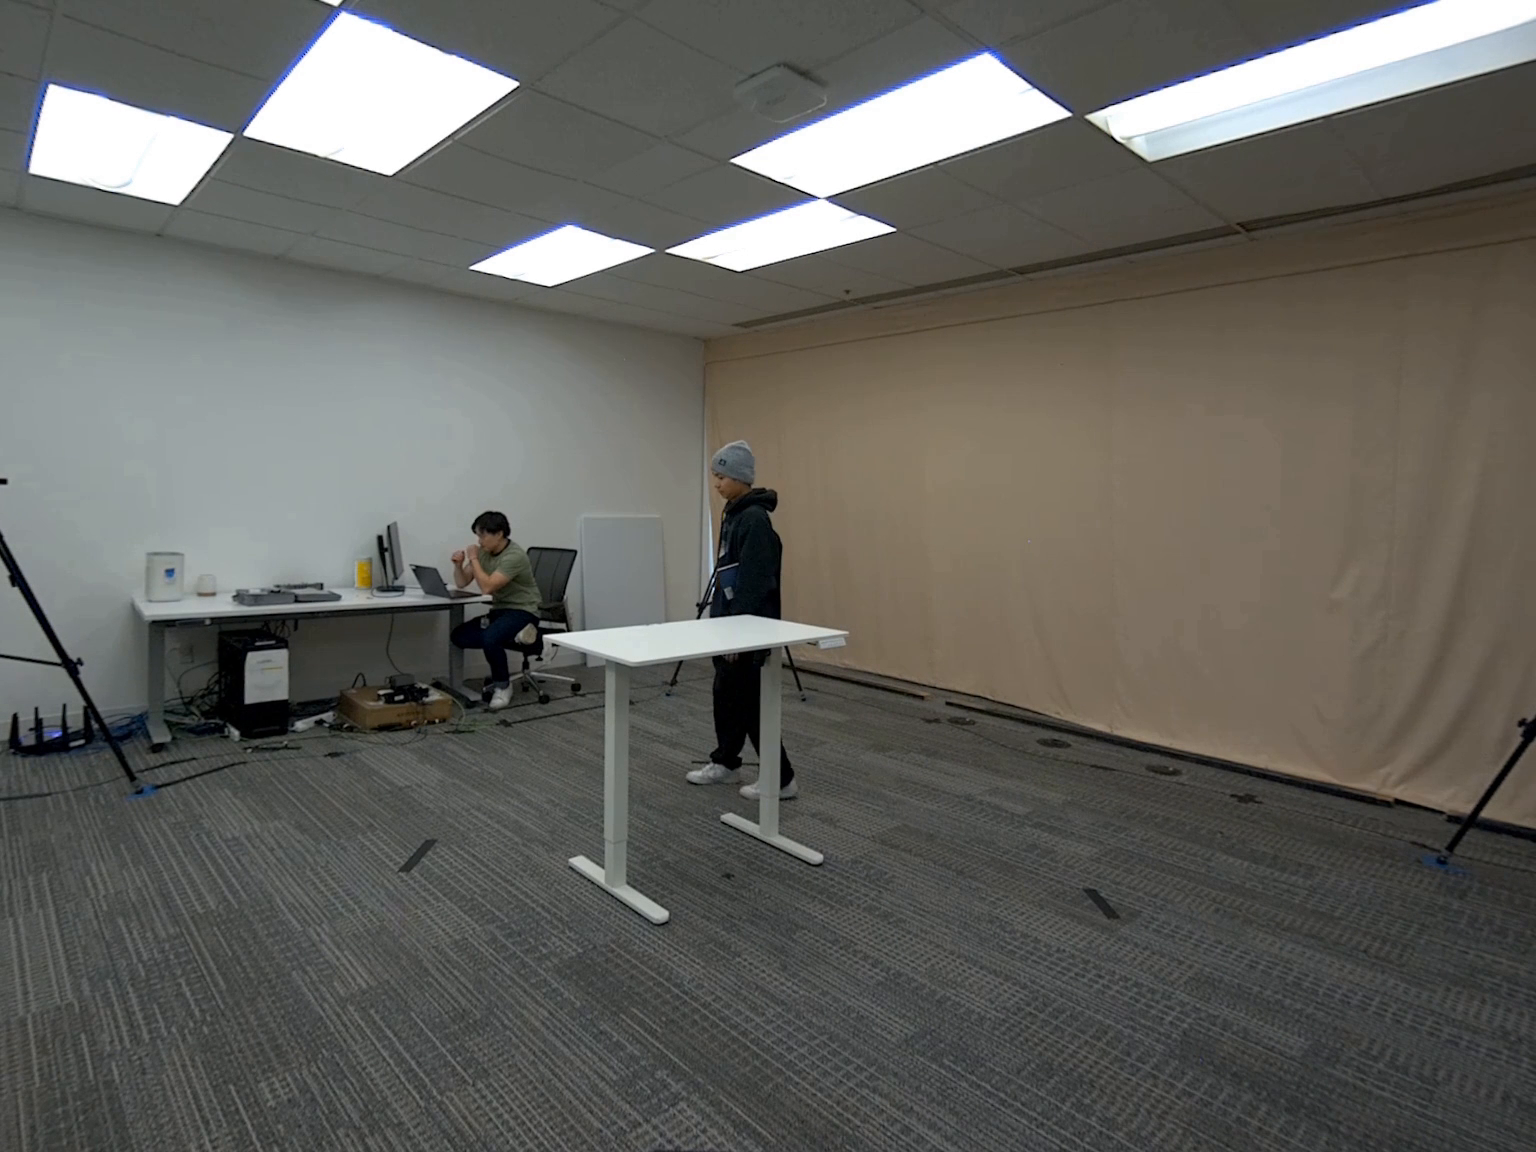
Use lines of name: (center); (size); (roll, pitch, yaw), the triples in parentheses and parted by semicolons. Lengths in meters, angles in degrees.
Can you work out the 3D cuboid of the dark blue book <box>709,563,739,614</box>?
dark blue book: (-0.095, 0.027, 3.866); (0.244, 0.162, 0.046); (-11, 10, -4)
